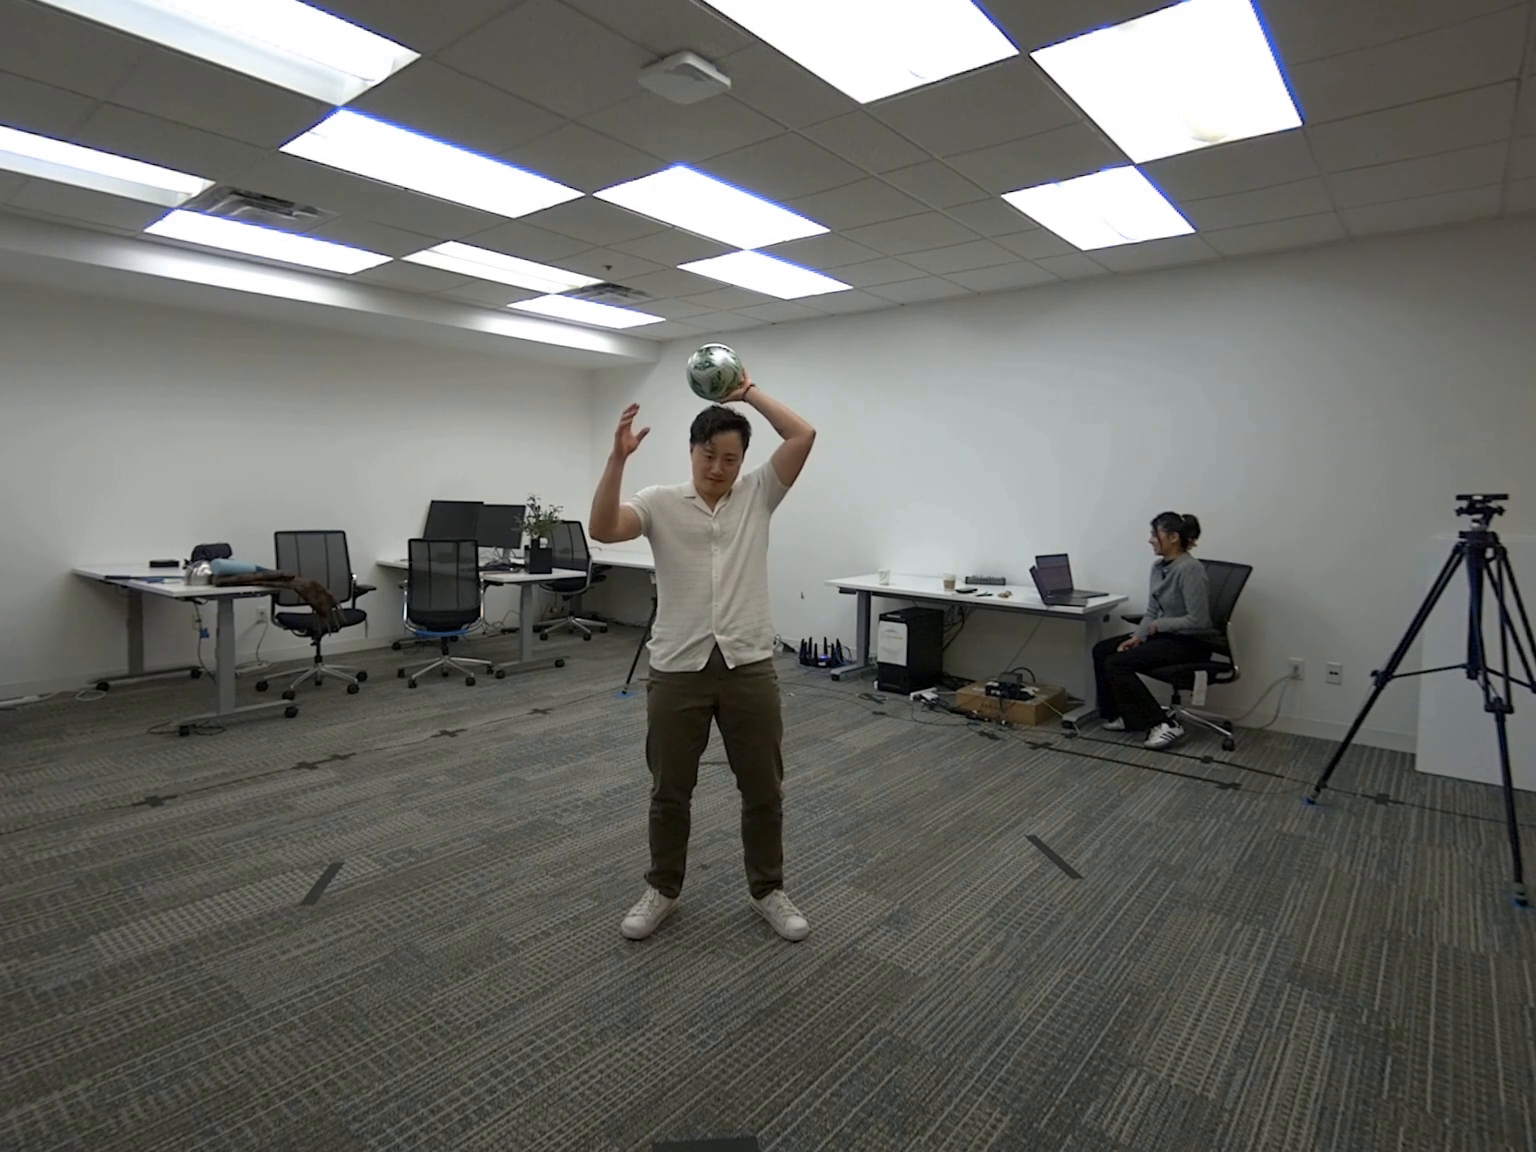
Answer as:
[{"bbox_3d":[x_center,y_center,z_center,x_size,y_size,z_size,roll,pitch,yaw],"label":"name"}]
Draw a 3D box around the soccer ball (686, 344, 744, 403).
[{"bbox_3d":[-0.182,-0.673,2.833,0.187,0.187,0.188,1,4,-2],"label":"soccer ball"}]
